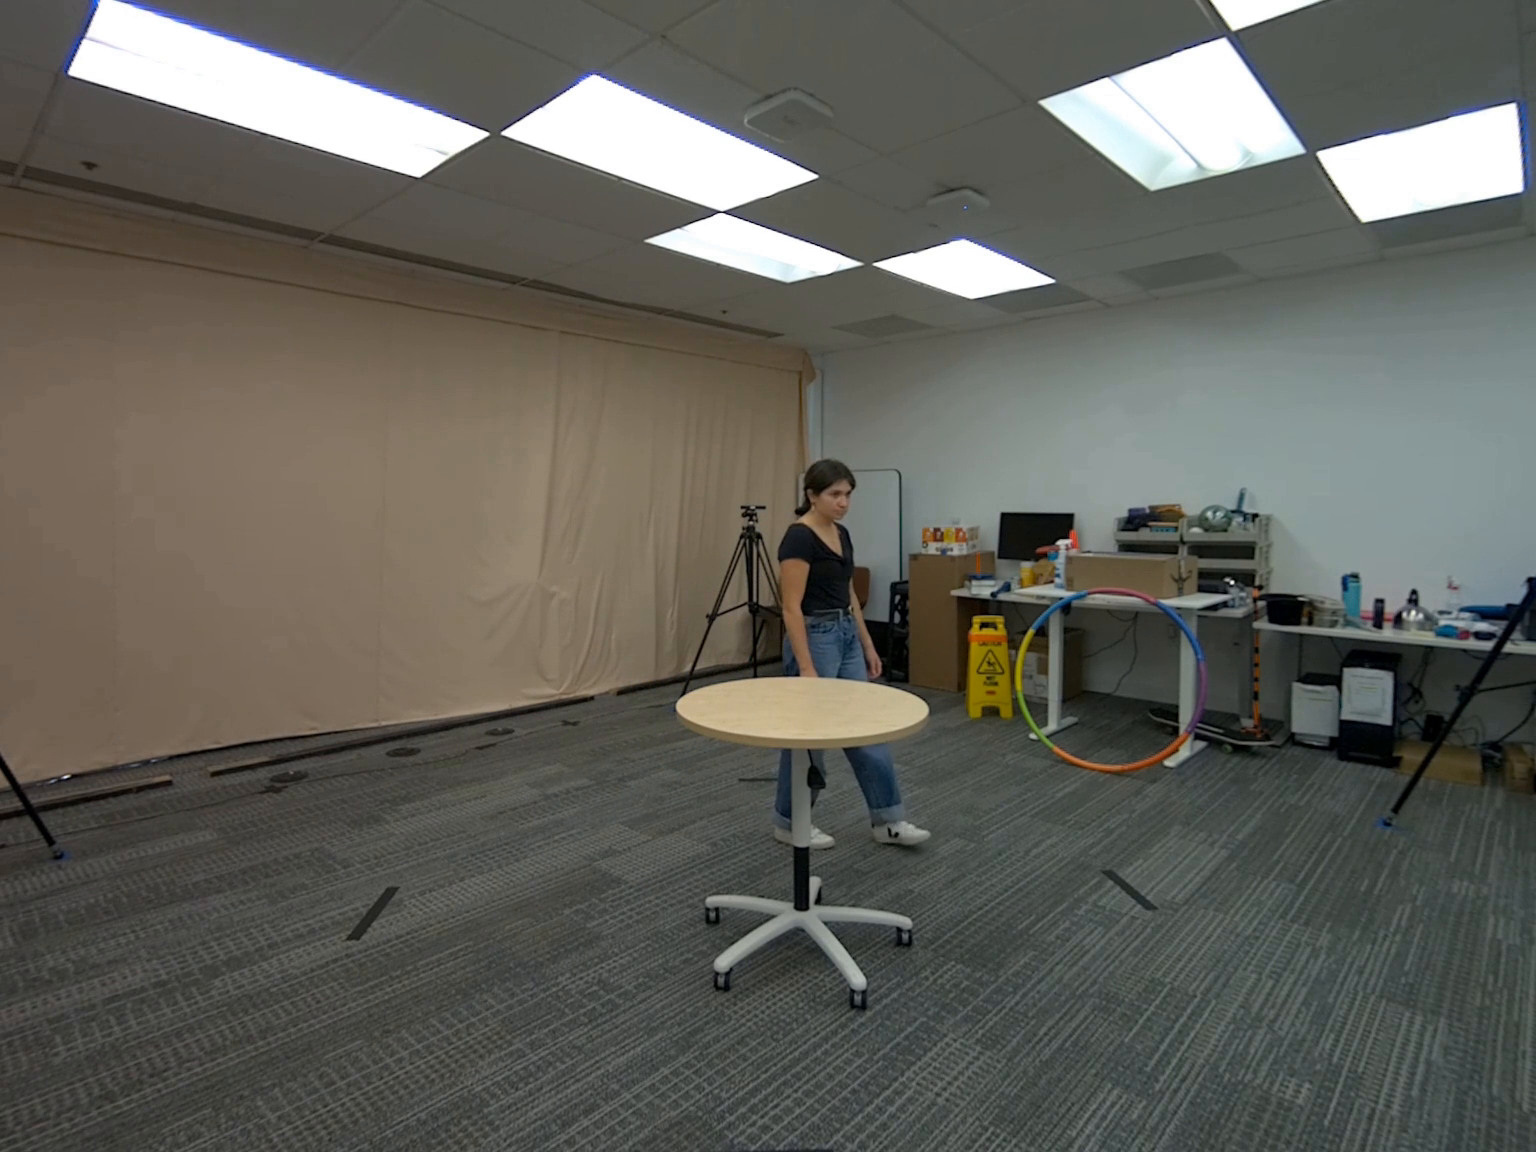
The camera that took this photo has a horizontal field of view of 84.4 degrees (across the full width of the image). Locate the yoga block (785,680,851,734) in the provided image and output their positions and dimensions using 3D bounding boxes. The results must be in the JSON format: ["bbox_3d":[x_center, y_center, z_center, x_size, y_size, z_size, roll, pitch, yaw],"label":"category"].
[{"bbox_3d":[0.189,0.494,3.229,0.235,0.147,0.076,5,25,23],"label":"yoga block"}]
